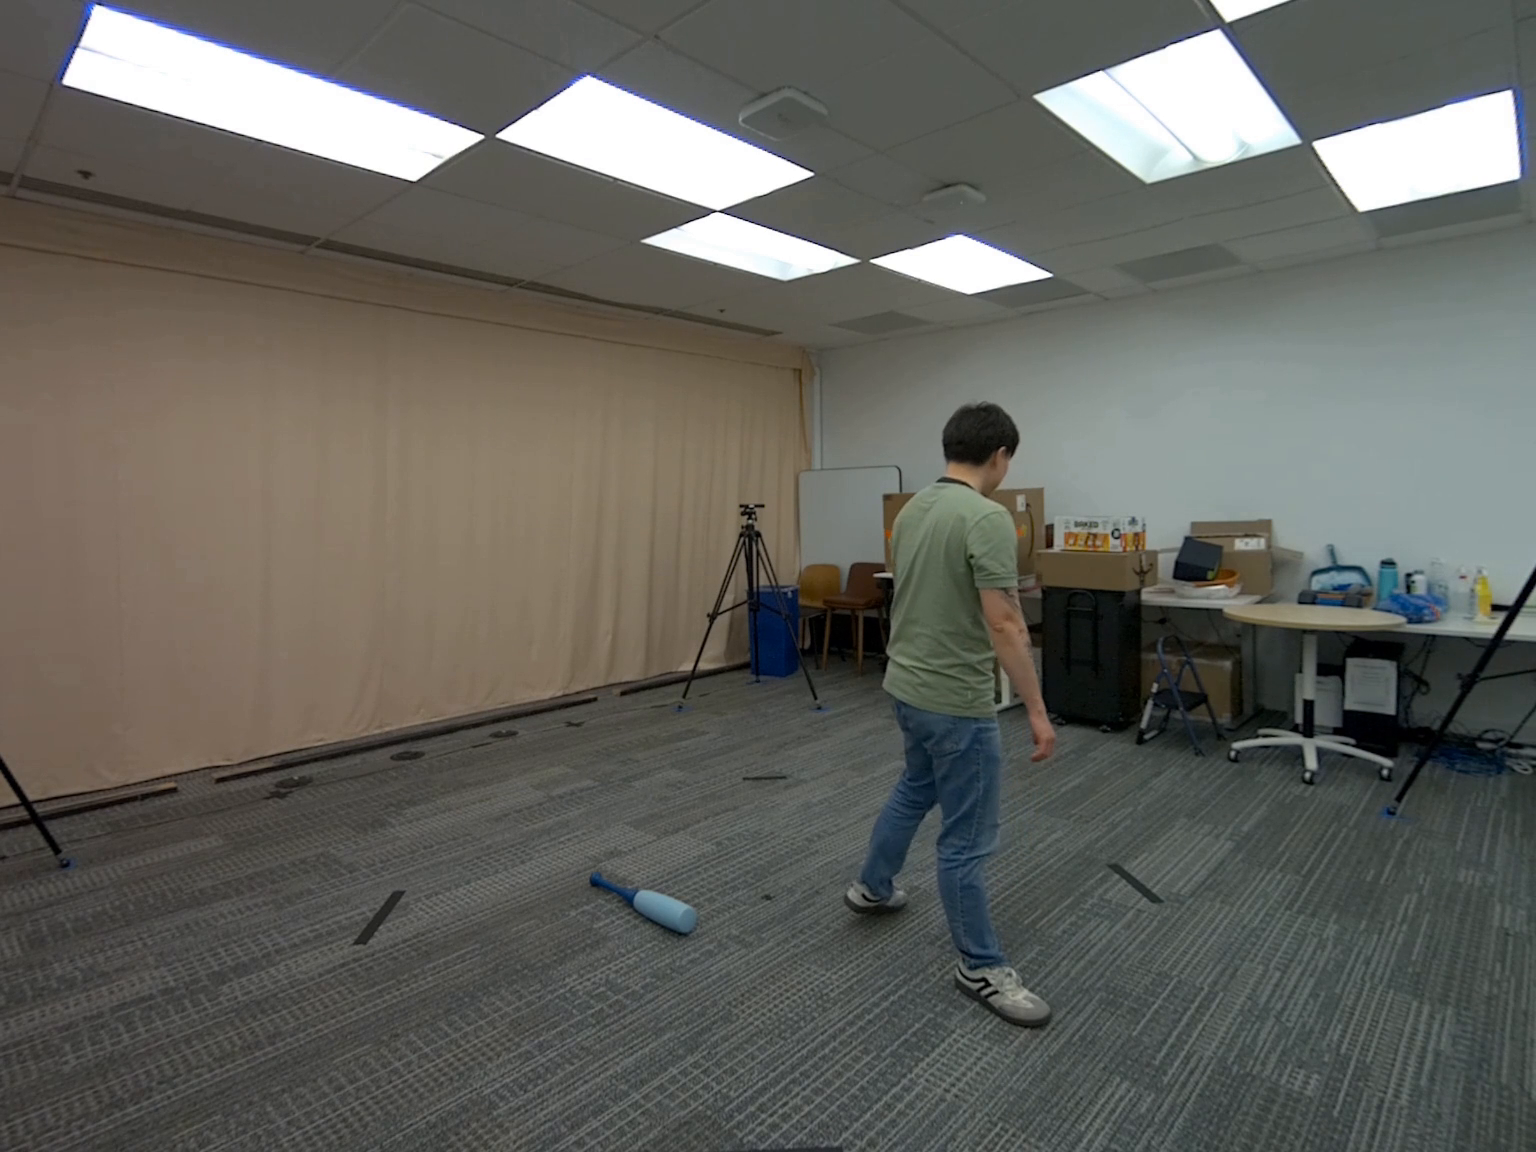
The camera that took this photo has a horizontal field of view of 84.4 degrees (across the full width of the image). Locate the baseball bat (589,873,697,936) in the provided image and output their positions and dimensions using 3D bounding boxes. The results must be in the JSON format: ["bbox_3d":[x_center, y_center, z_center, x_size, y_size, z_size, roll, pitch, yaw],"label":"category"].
[{"bbox_3d":[-0.452,1.123,2.912,0.560,0.089,0.086,-2,2,45],"label":"baseball bat"}]
